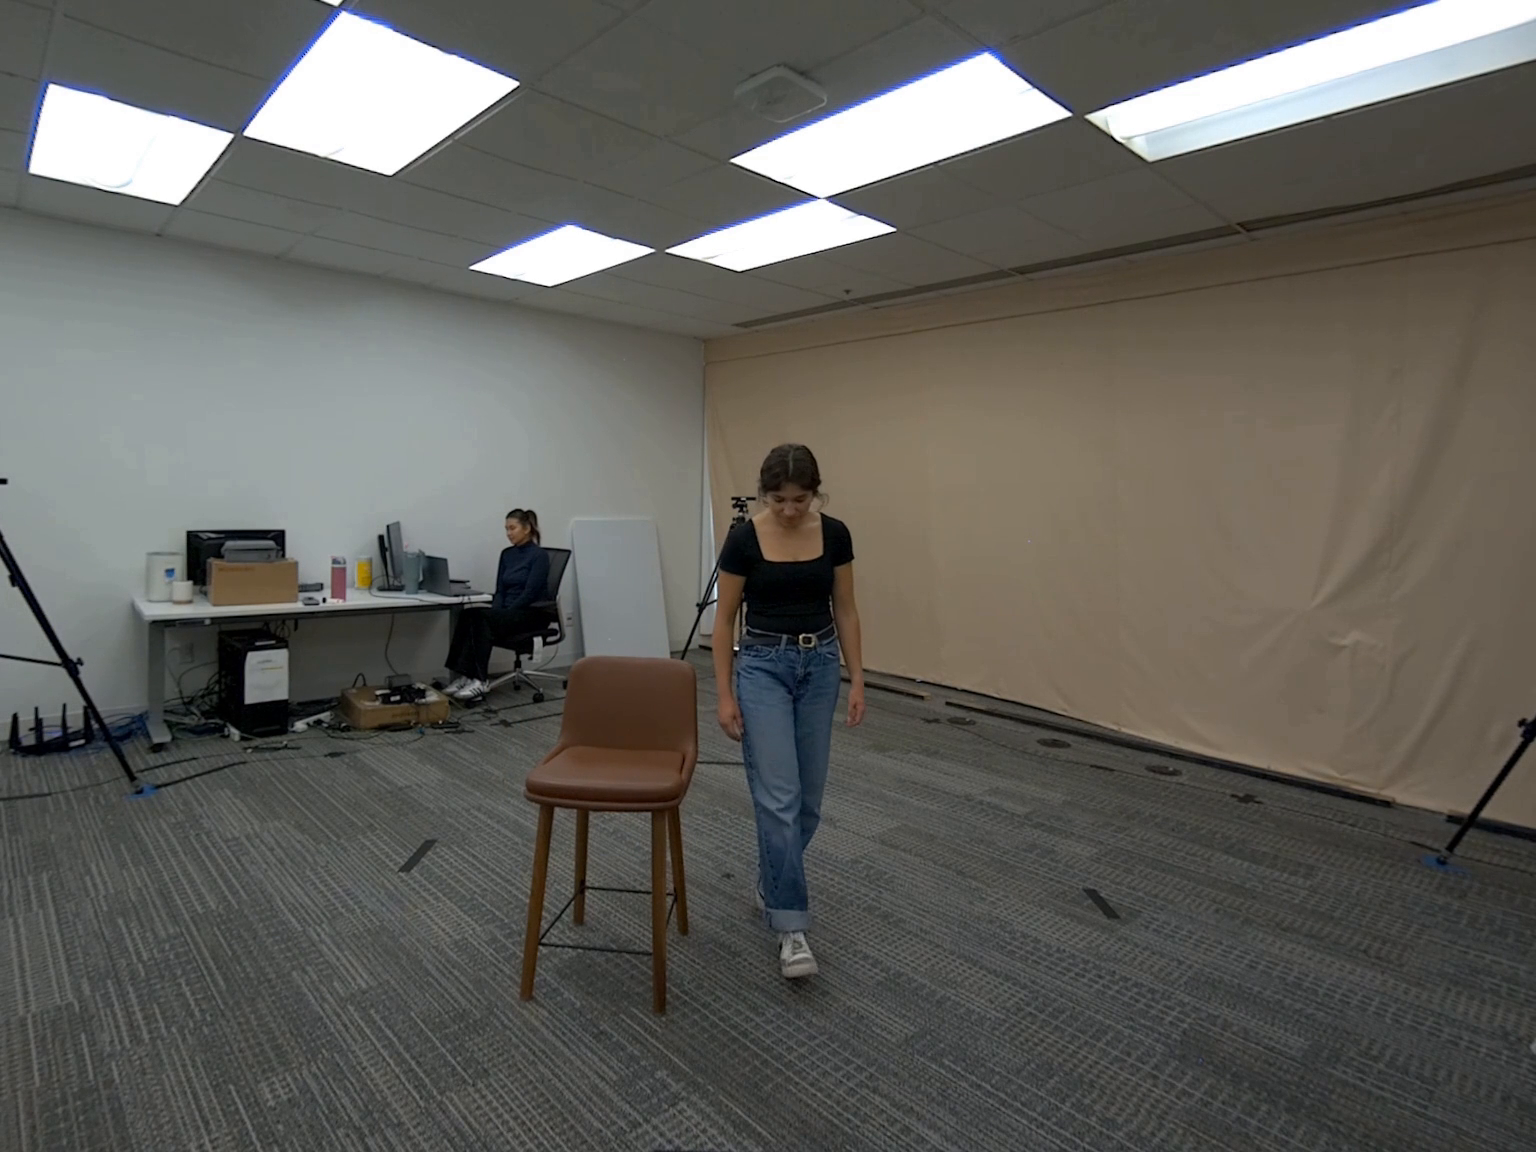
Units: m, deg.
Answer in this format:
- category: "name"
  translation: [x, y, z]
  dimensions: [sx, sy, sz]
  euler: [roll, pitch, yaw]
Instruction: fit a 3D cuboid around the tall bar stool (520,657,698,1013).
- category: "tall bar stool"
  translation: [-0.459, 0.724, 2.478]
  dimensions: [0.459, 0.889, 0.465]
  euler: [1, 1, 7]
